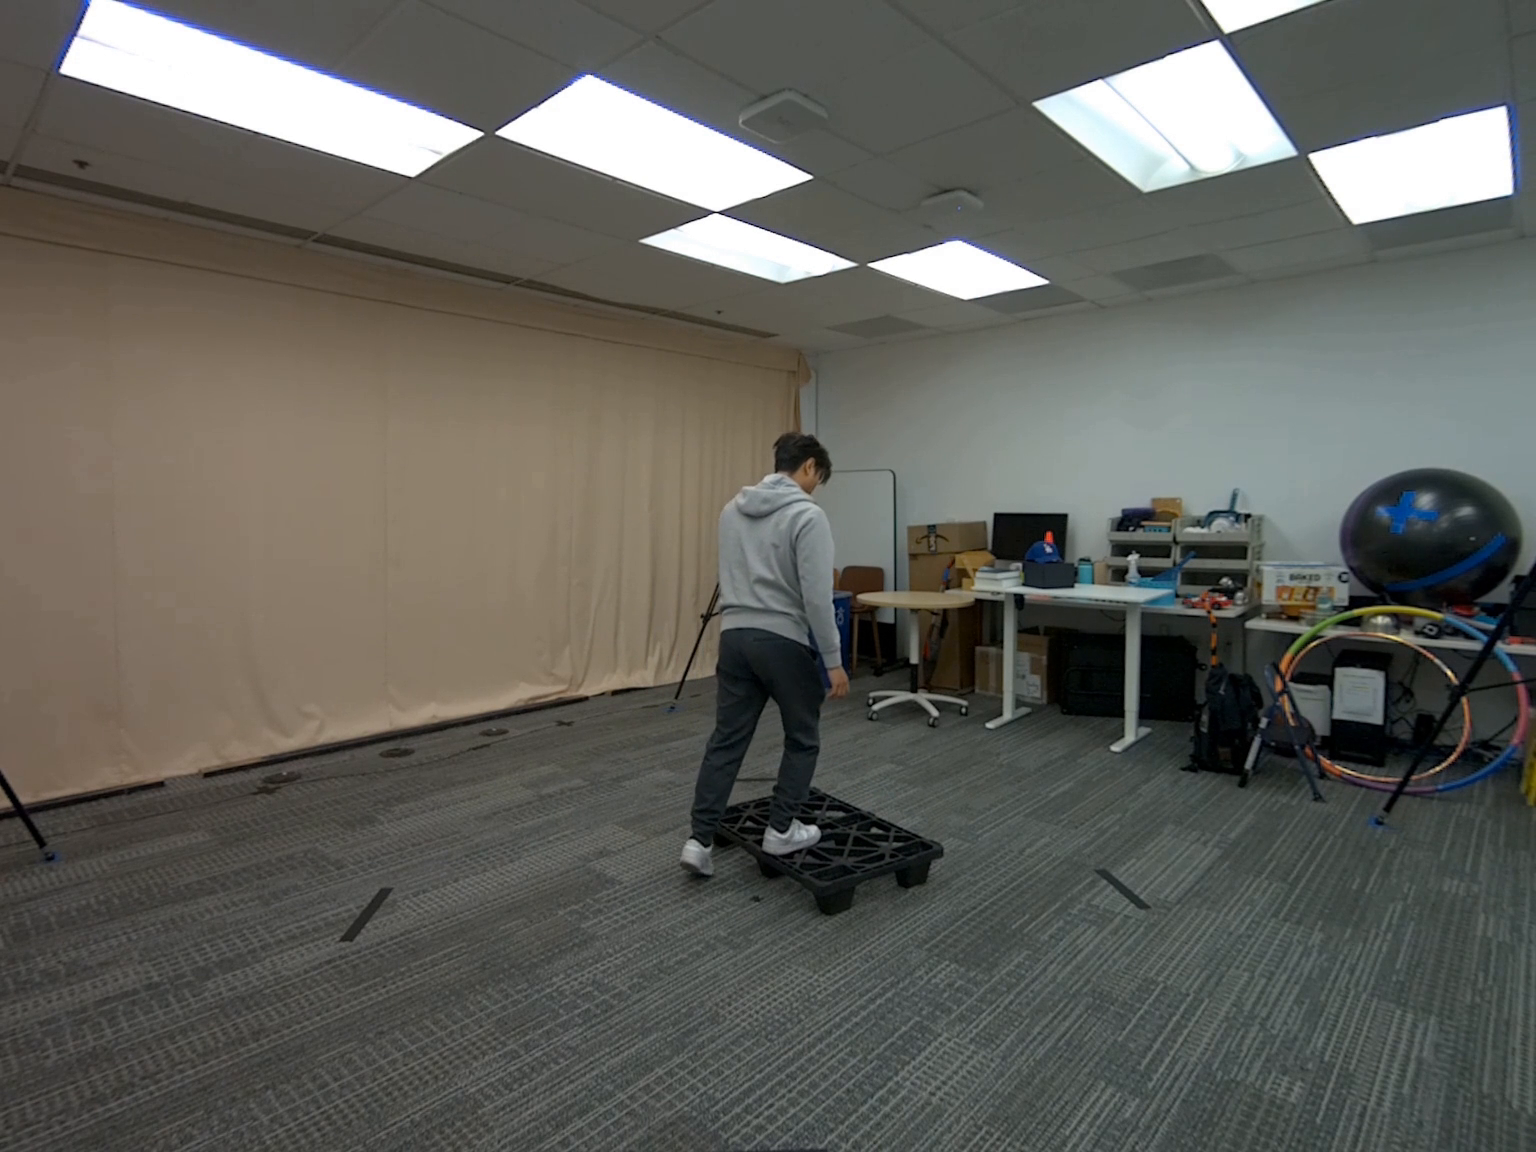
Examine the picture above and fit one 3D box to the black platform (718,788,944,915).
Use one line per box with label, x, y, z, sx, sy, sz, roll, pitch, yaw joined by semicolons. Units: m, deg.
black platform;0.182;1.053;3.276;0.588;0.143;0.831;-4;6;-34
